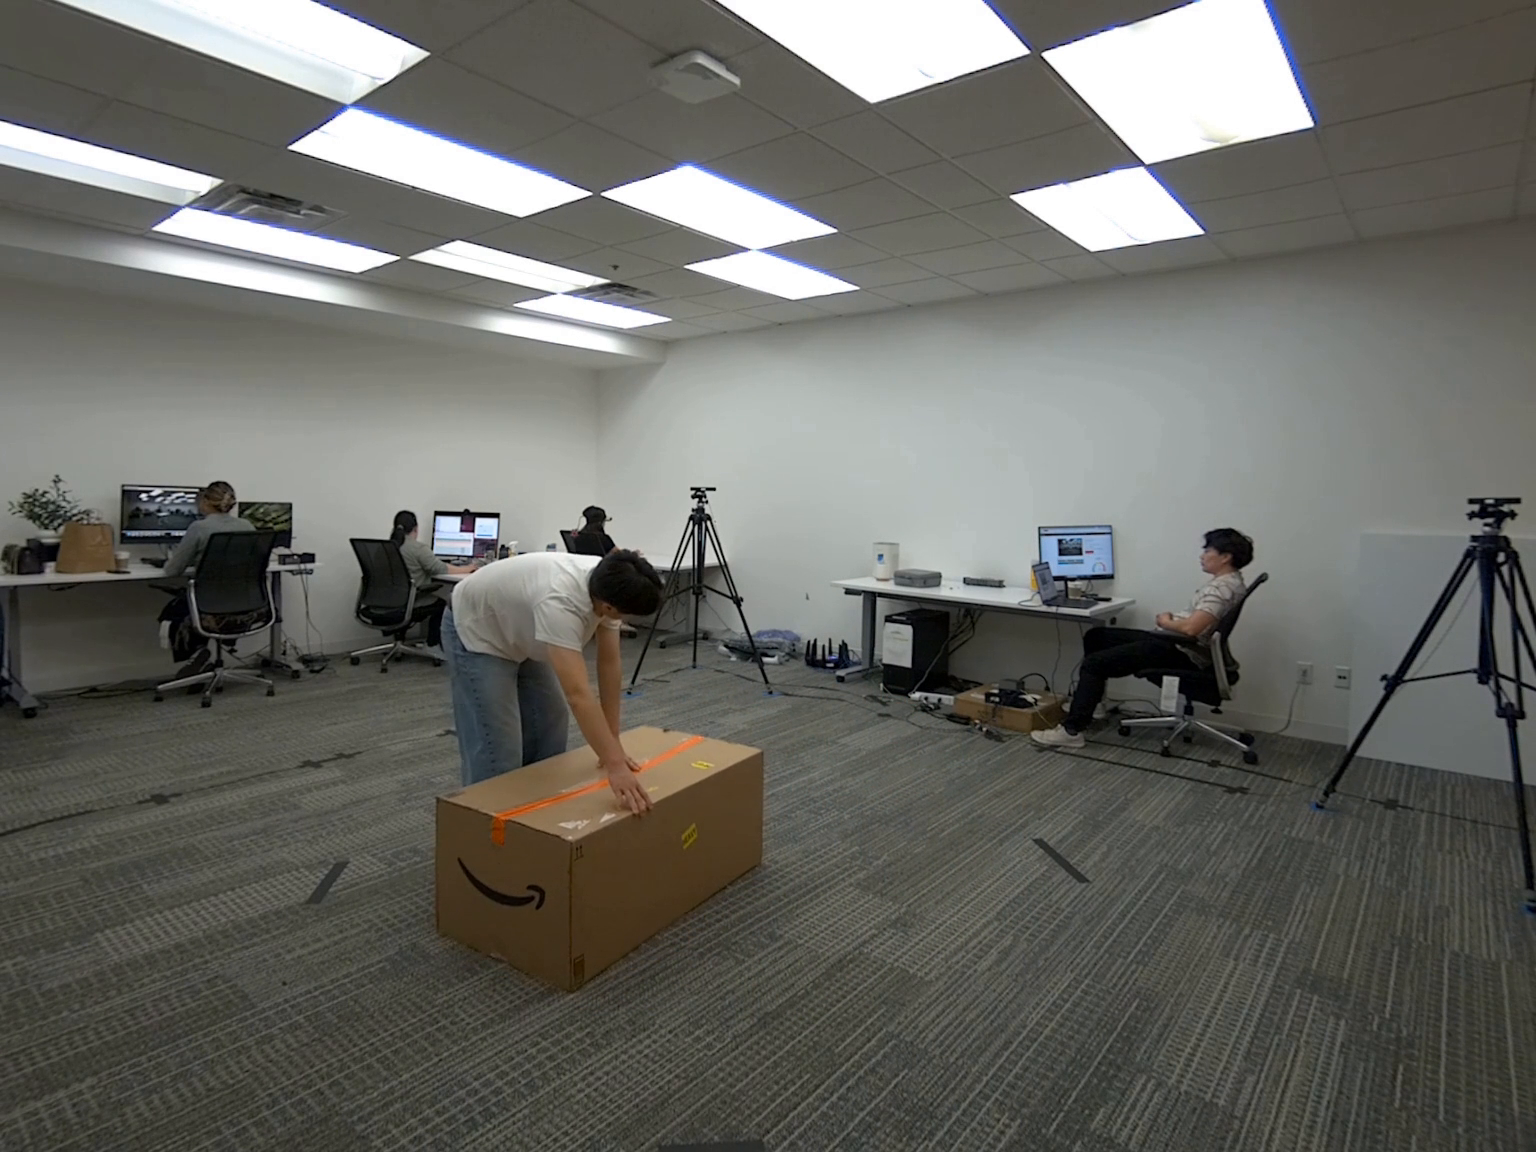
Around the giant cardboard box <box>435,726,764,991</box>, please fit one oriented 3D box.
[{"bbox_3d":[-0.532,0.872,2.889,0.595,0.424,0.999,4,6,31],"label":"giant cardboard box"}]
